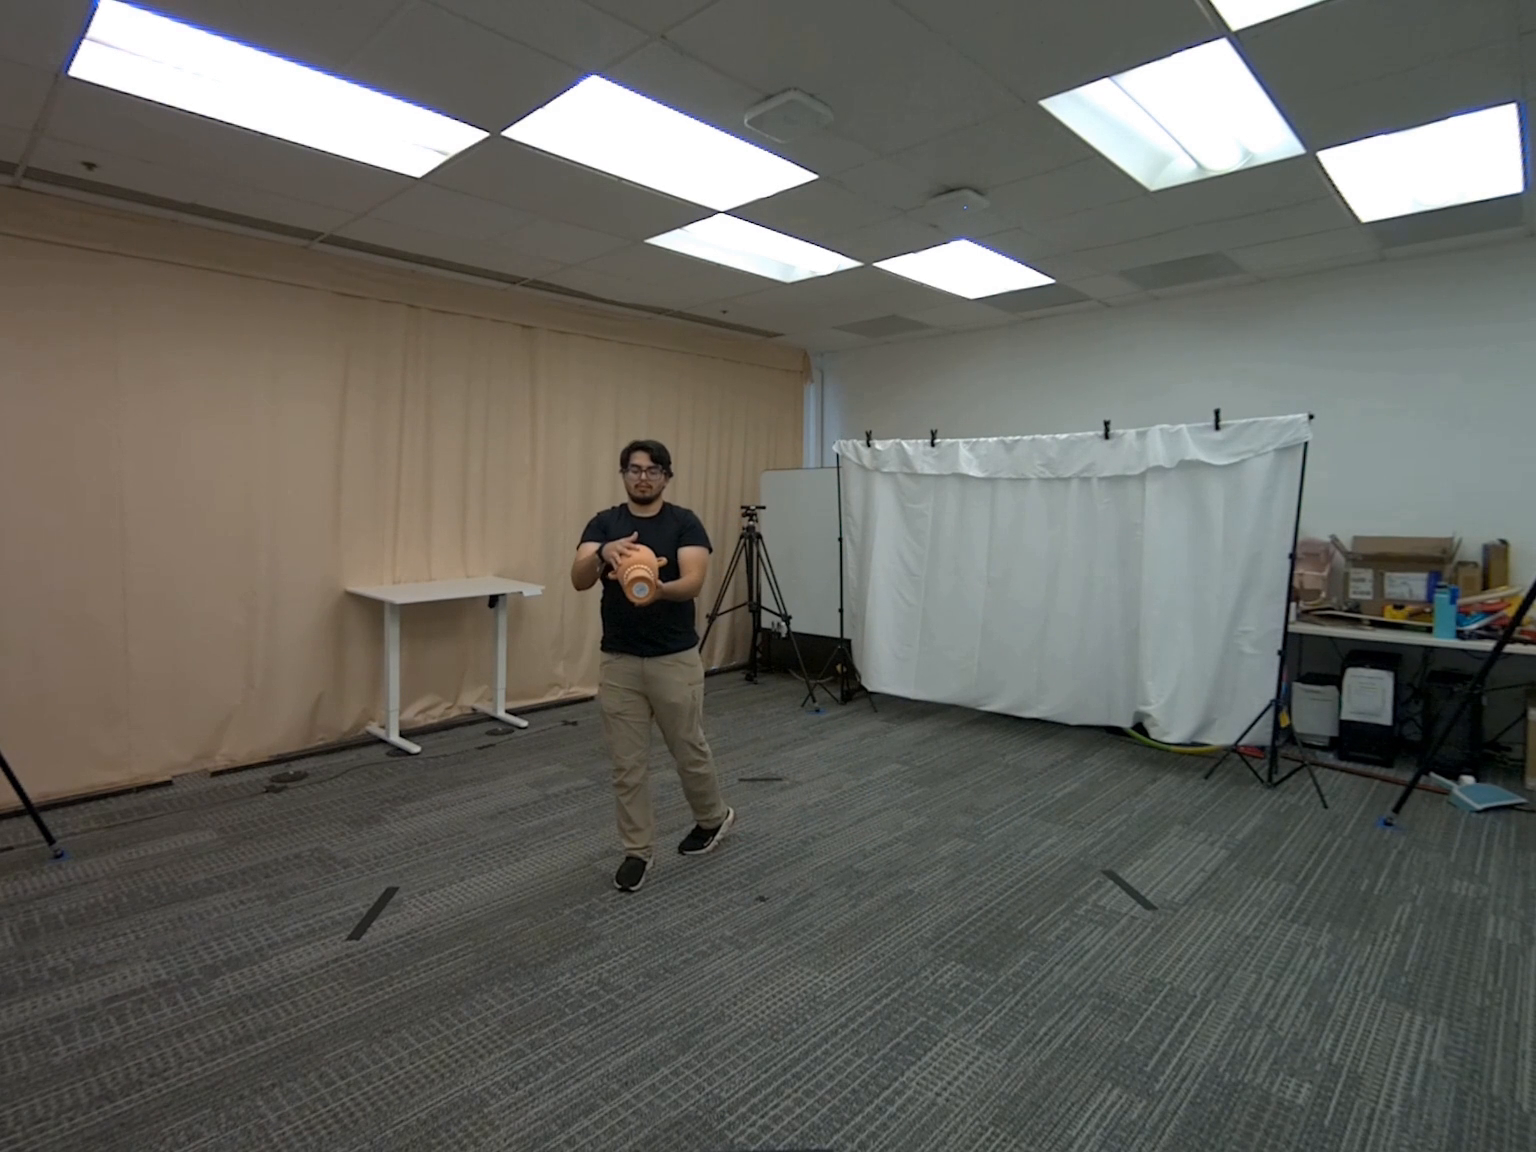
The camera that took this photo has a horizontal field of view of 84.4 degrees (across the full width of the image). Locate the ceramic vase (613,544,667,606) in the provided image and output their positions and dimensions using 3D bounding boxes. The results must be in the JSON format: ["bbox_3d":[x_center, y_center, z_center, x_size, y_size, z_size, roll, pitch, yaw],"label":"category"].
[{"bbox_3d":[-0.412,-0.002,2.718,0.131,0.159,0.224,34,14,-21],"label":"ceramic vase"}]
